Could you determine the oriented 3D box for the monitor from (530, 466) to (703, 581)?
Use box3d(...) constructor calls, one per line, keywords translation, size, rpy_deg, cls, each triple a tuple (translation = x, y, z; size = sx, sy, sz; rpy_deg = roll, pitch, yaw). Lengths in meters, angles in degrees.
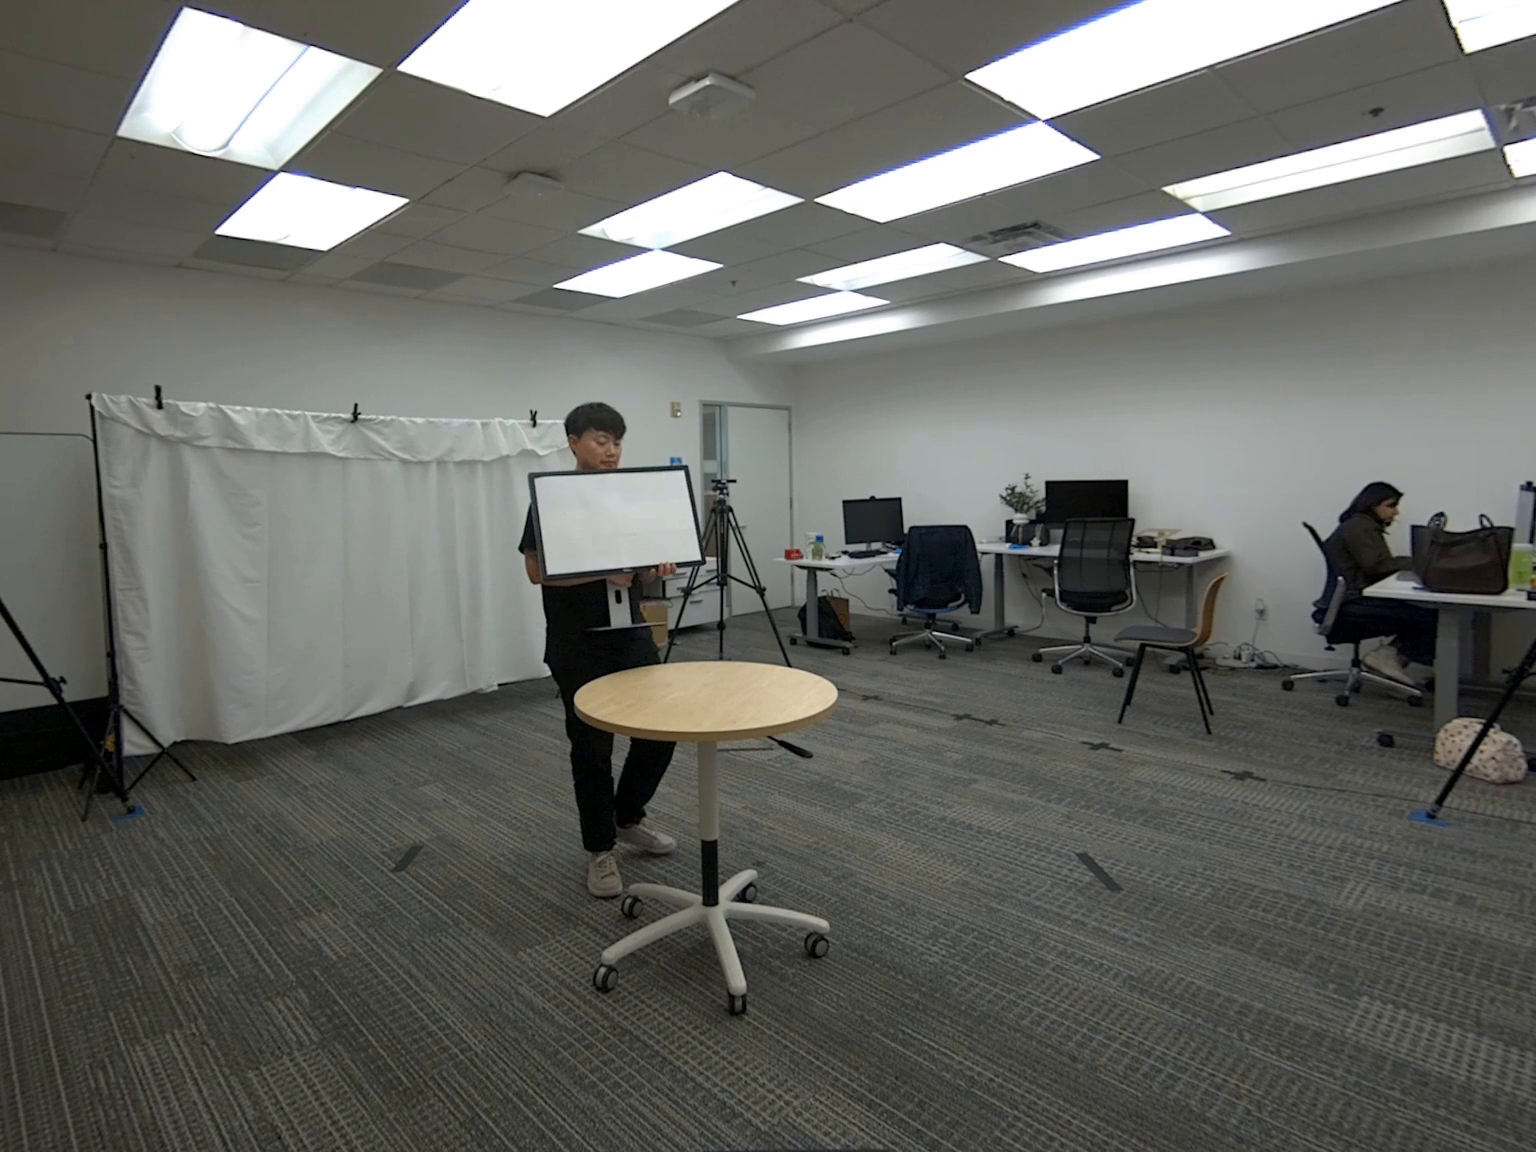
box3d(translation=(-0.497, -0.089, 2.867), size=(0.528, 0.524, 0.190), rpy_deg=(-6, -4, -26), cls="monitor")
